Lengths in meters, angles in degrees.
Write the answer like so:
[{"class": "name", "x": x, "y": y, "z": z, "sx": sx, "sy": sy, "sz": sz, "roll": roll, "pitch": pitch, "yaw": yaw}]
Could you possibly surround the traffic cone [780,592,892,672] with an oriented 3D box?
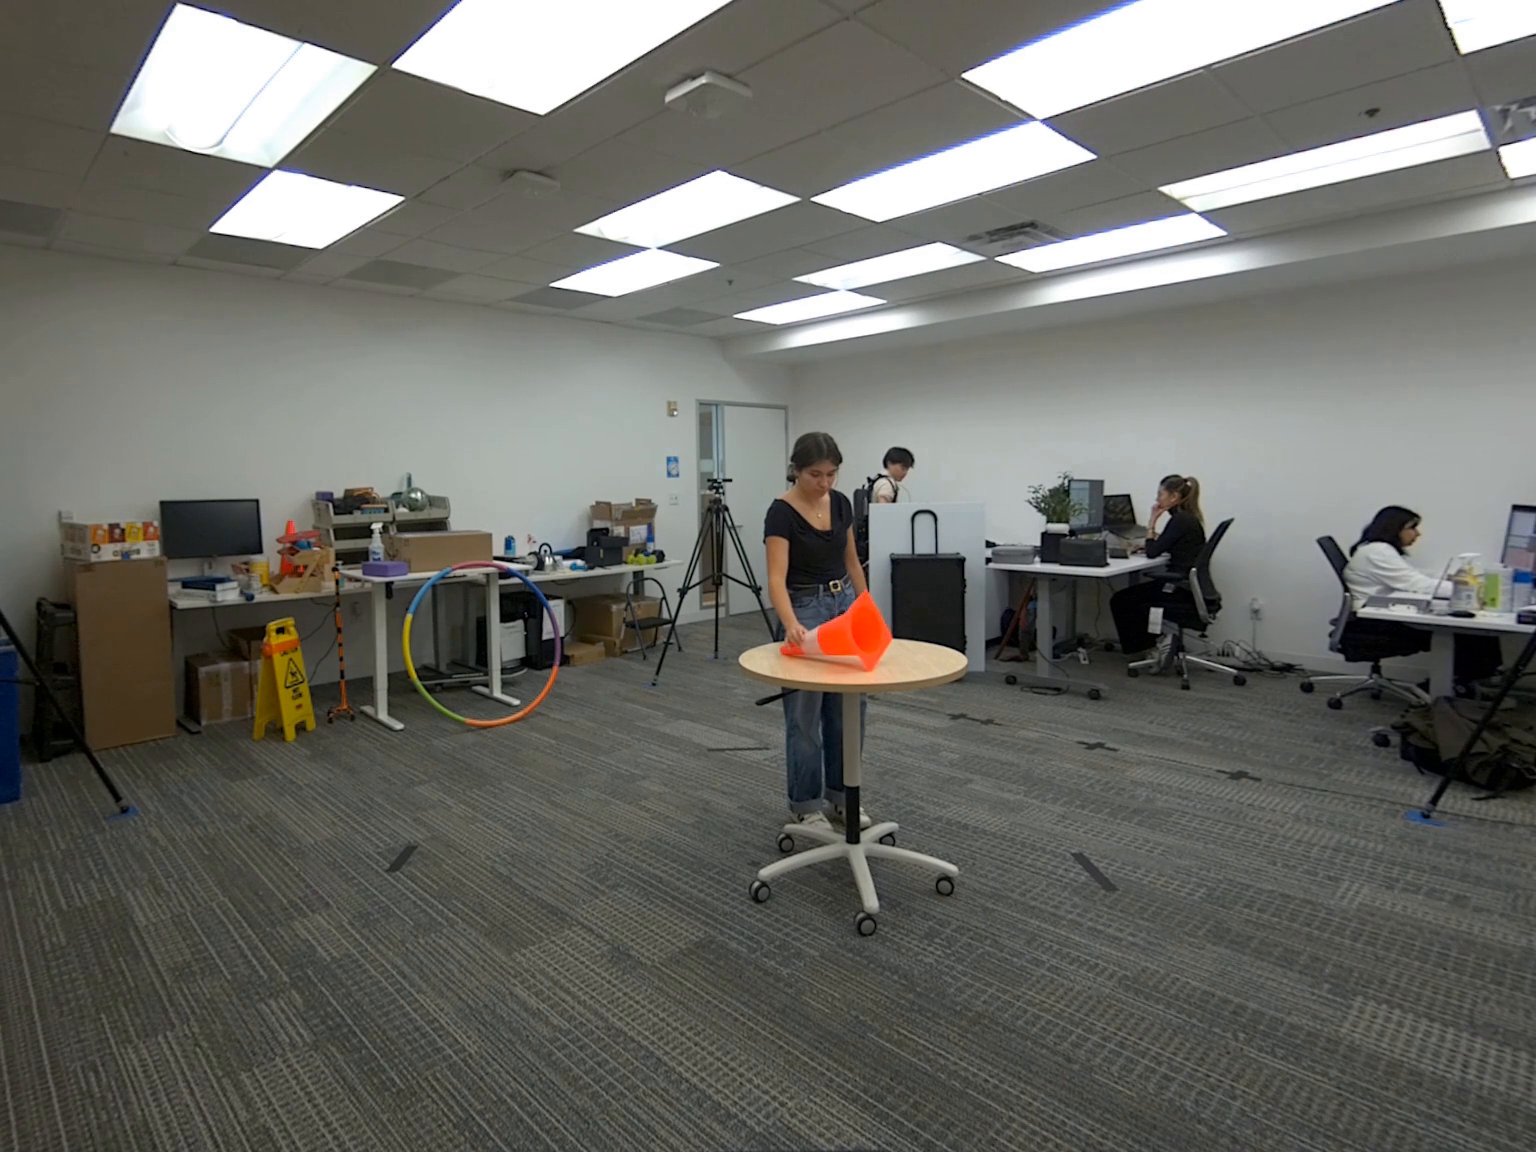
[{"class": "traffic cone", "x": 0.188, "y": 0.228, "z": 2.868, "sx": 0.390, "sy": 0.202, "sz": 0.203, "roll": -20, "pitch": 16, "yaw": 44}]
